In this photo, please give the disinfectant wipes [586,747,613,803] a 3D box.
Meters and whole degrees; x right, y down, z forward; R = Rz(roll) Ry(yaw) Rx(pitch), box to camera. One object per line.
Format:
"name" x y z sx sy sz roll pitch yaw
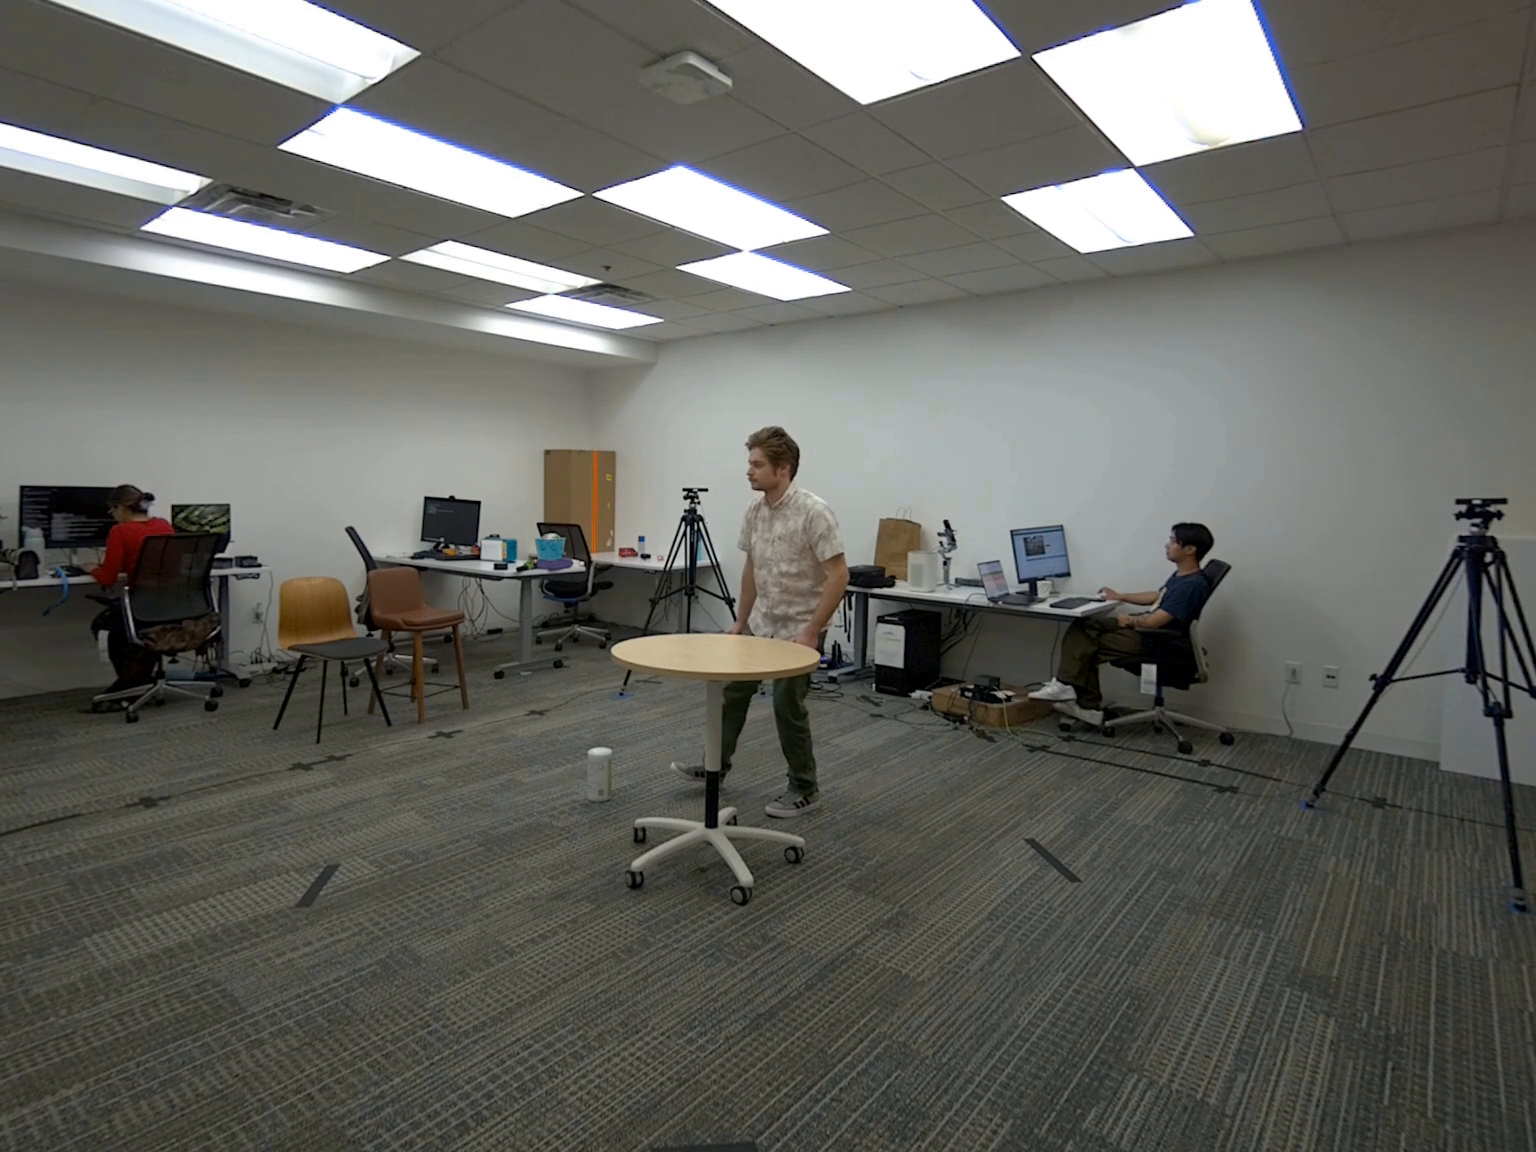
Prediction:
"disinfectant wipes" -0.768 0.886 3.819 0.118 0.217 0.118 0 3 -2
